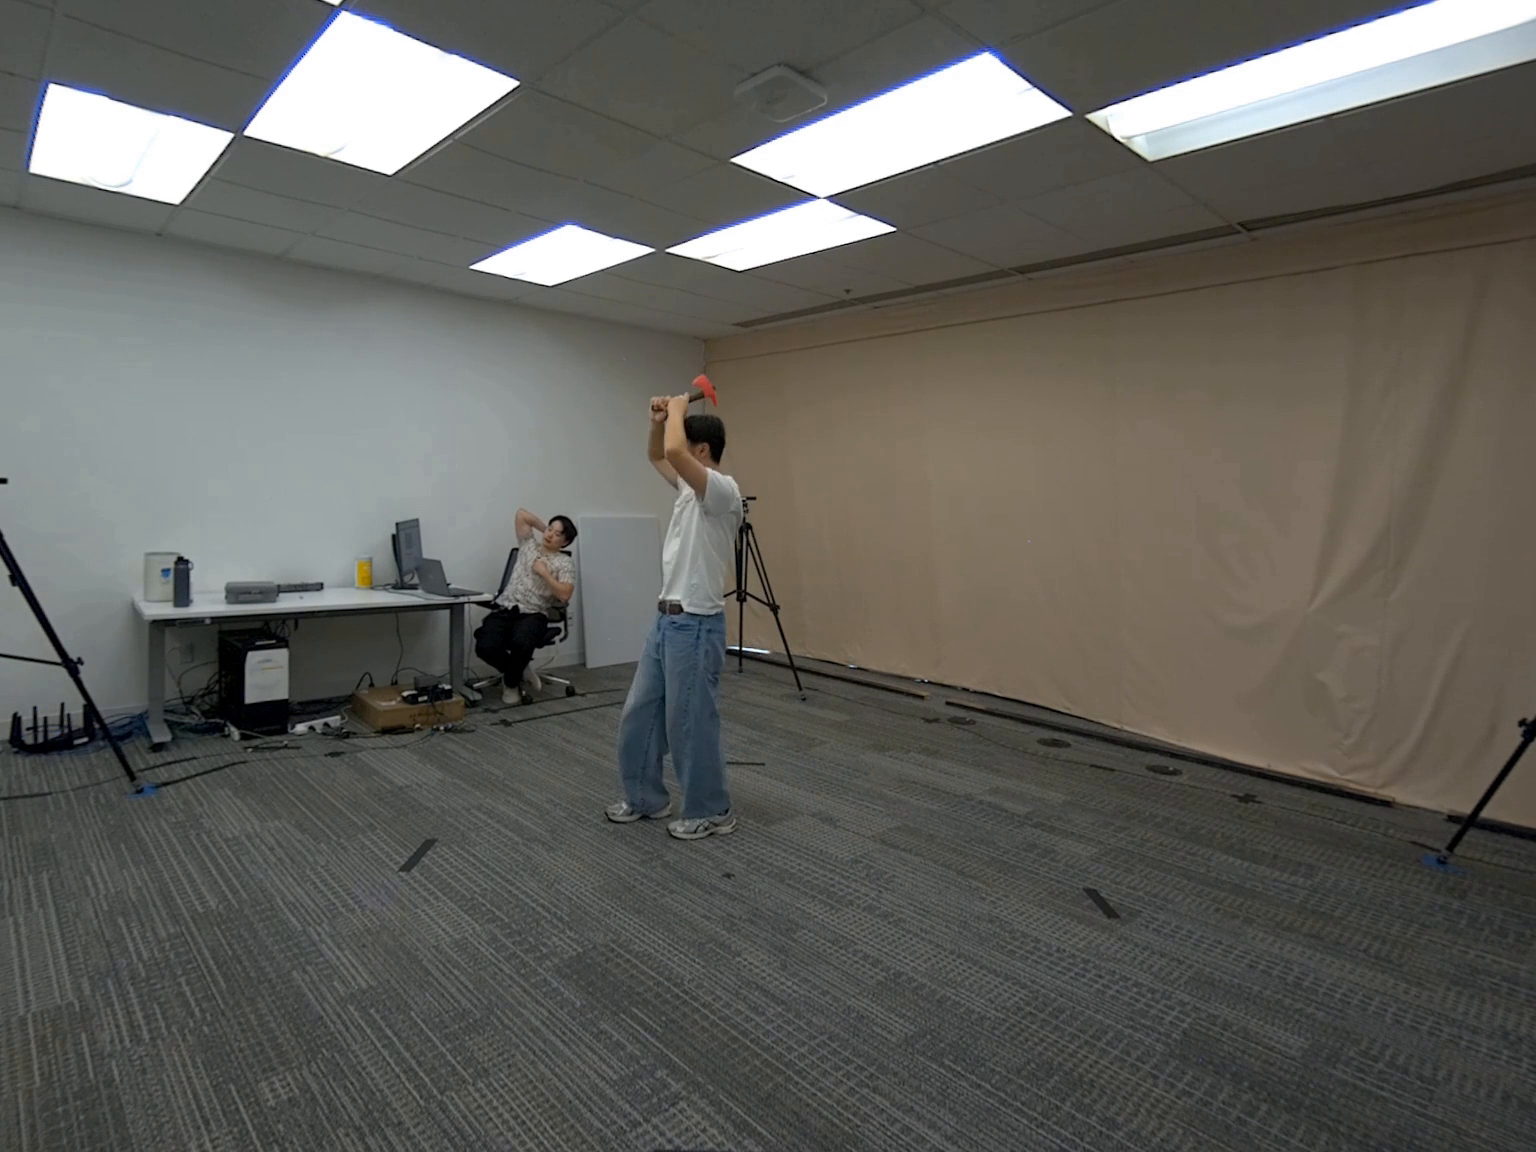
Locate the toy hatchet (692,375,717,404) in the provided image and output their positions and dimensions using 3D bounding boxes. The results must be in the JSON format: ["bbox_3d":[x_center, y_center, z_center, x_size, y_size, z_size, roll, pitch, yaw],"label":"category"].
[{"bbox_3d":[-0.355,-0.752,3.415,0.270,0.130,0.030,-3,7,2],"label":"toy hatchet"}]
